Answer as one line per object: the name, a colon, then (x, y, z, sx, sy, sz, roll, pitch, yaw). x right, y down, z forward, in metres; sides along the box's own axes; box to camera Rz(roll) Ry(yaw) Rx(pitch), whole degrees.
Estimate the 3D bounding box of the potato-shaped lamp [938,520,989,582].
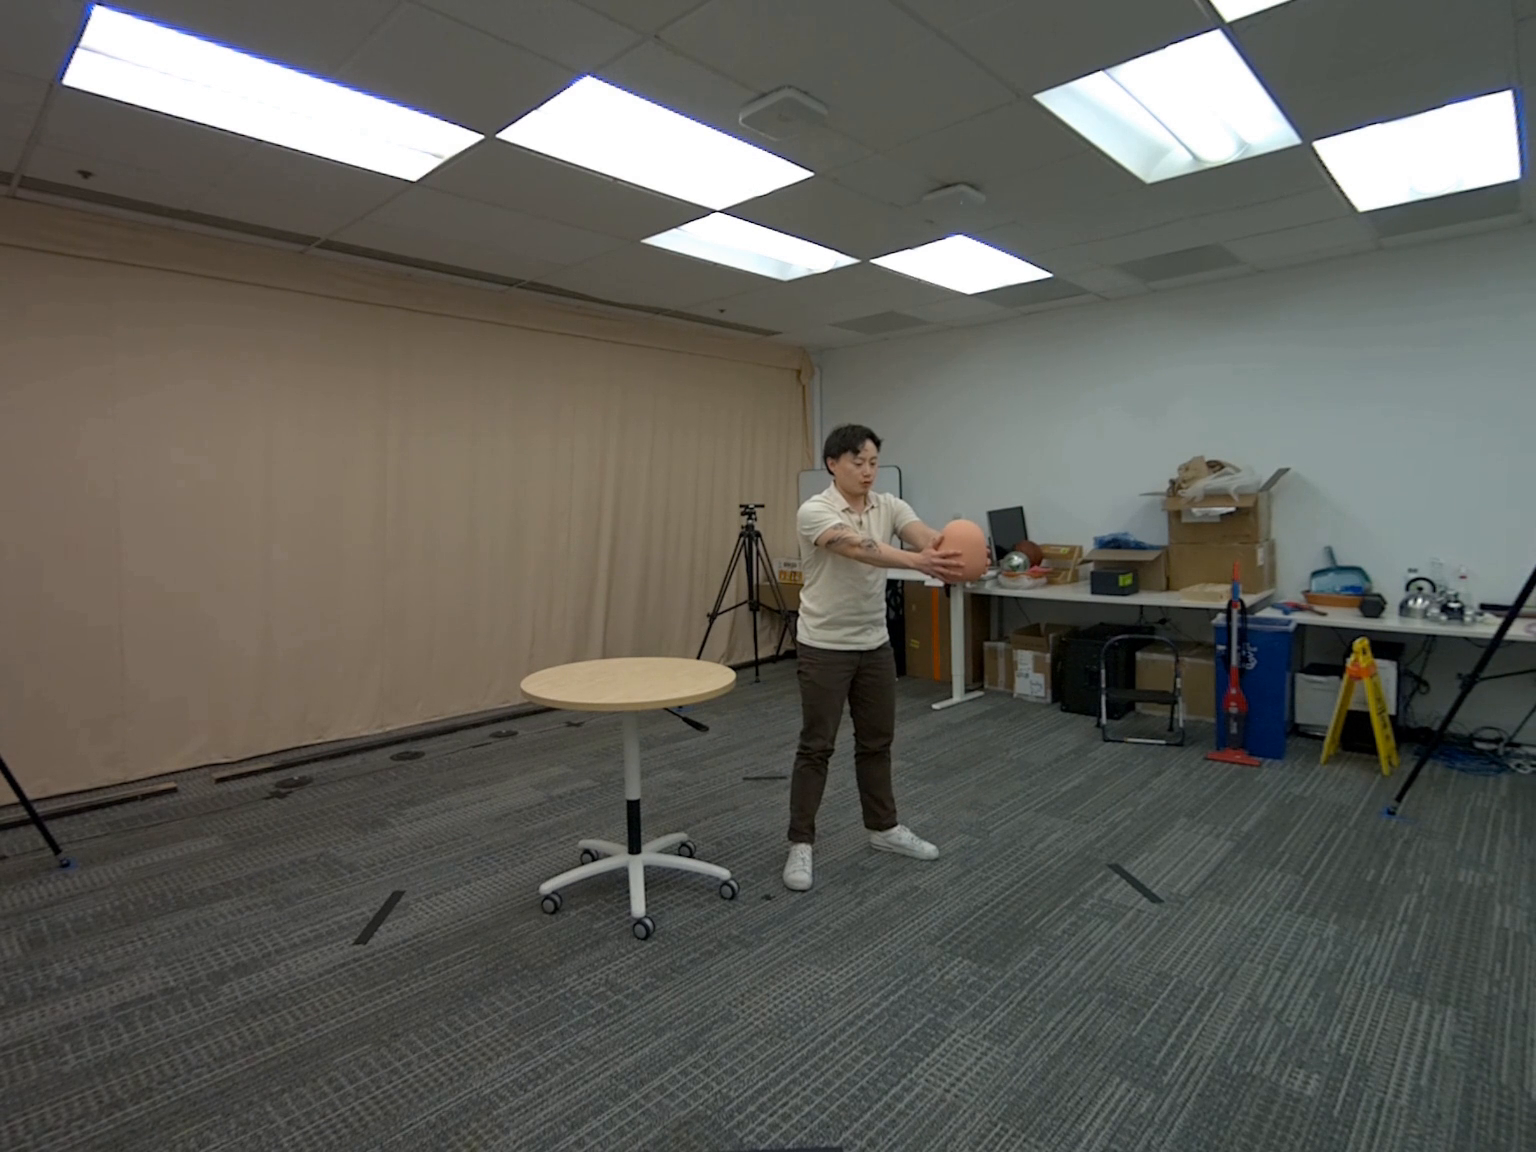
potato-shaped lamp: (0.612, -0.082, 2.704, 0.161, 0.197, 0.176, -10, 11, -25)
